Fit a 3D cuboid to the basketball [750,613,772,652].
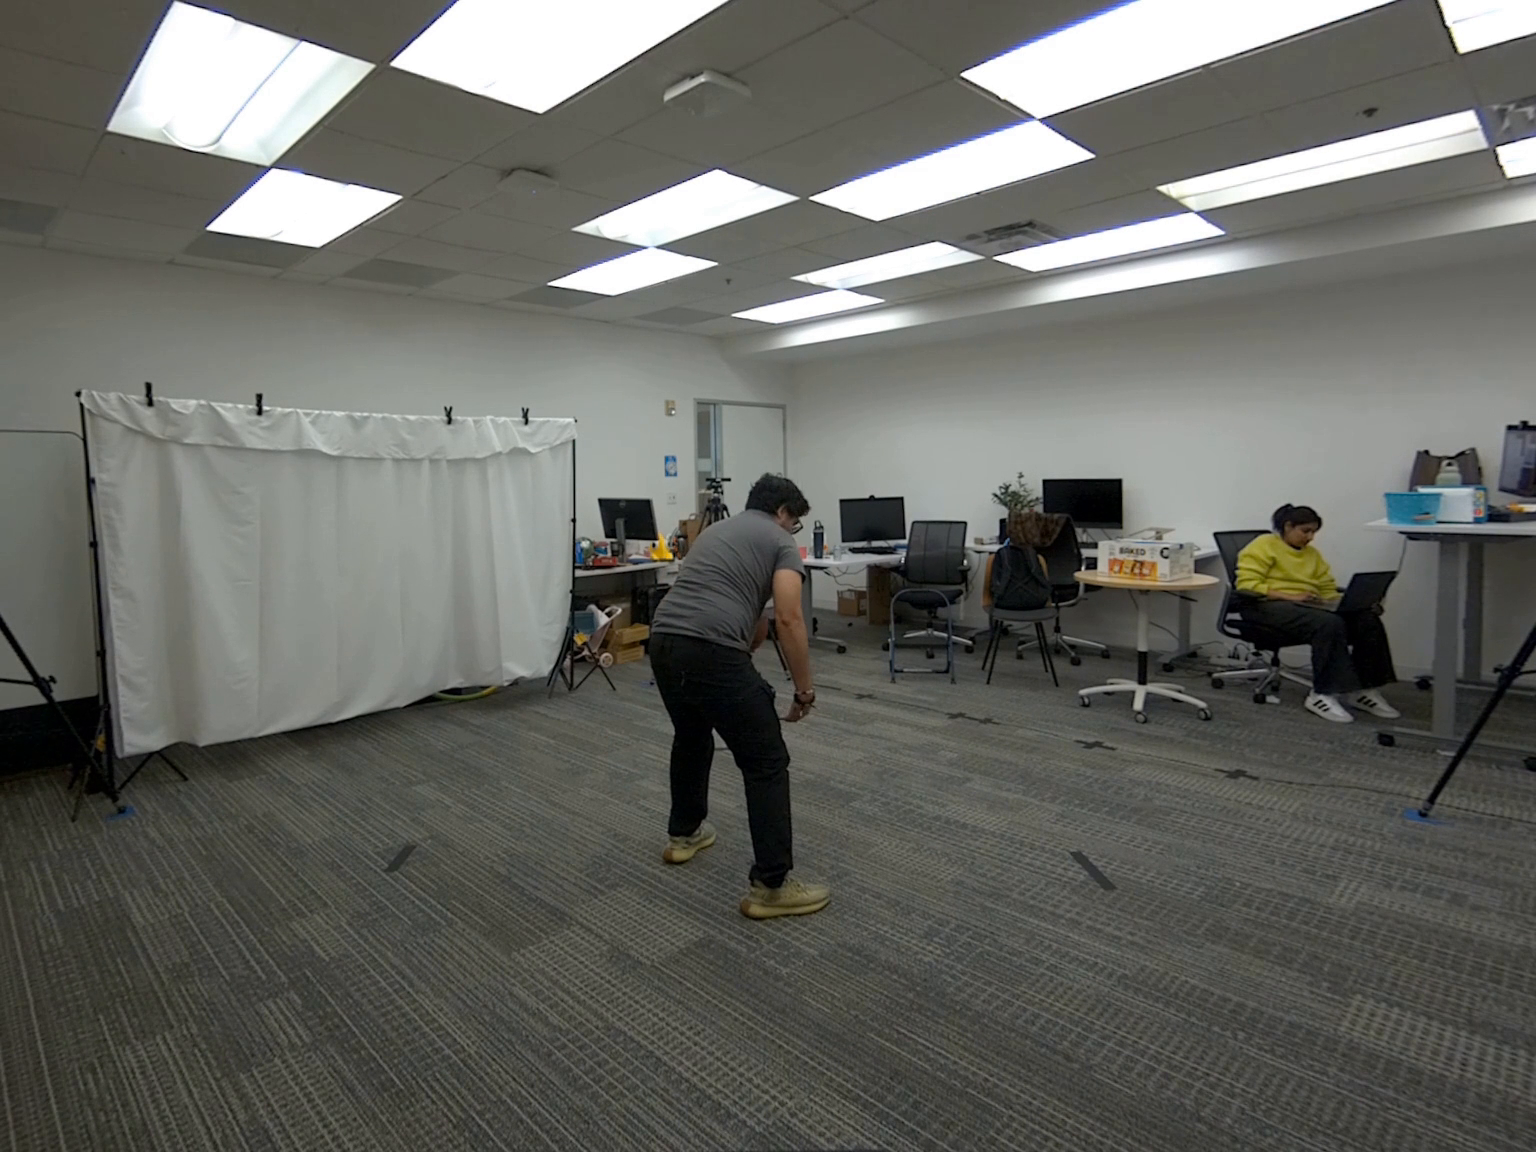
[{"bbox_3d":[-0.105,0.190,3.297,0.236,0.235,0.237,-1,5,-2],"label":"basketball"}]
